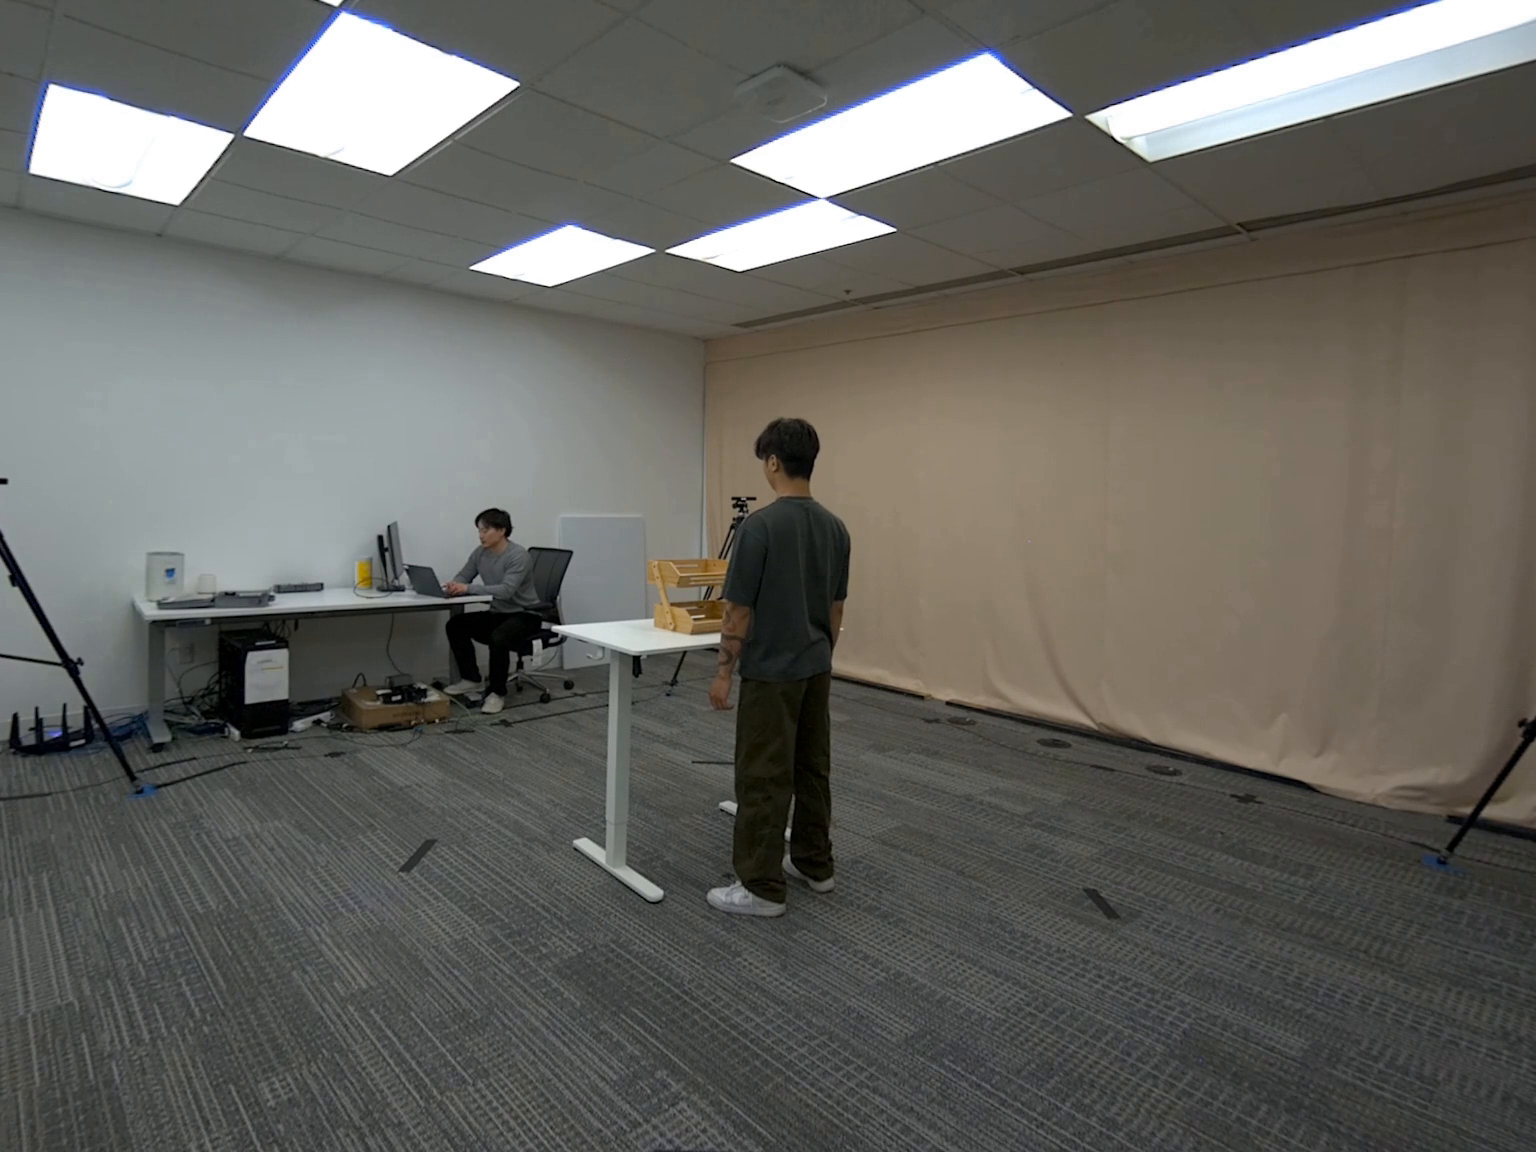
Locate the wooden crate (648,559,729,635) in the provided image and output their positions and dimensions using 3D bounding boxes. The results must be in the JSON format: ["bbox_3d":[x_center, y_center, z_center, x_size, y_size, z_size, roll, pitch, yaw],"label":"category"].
[{"bbox_3d":[-0.275,0.070,3.311,0.317,0.273,0.310,-2,5,-42],"label":"wooden crate"}]
